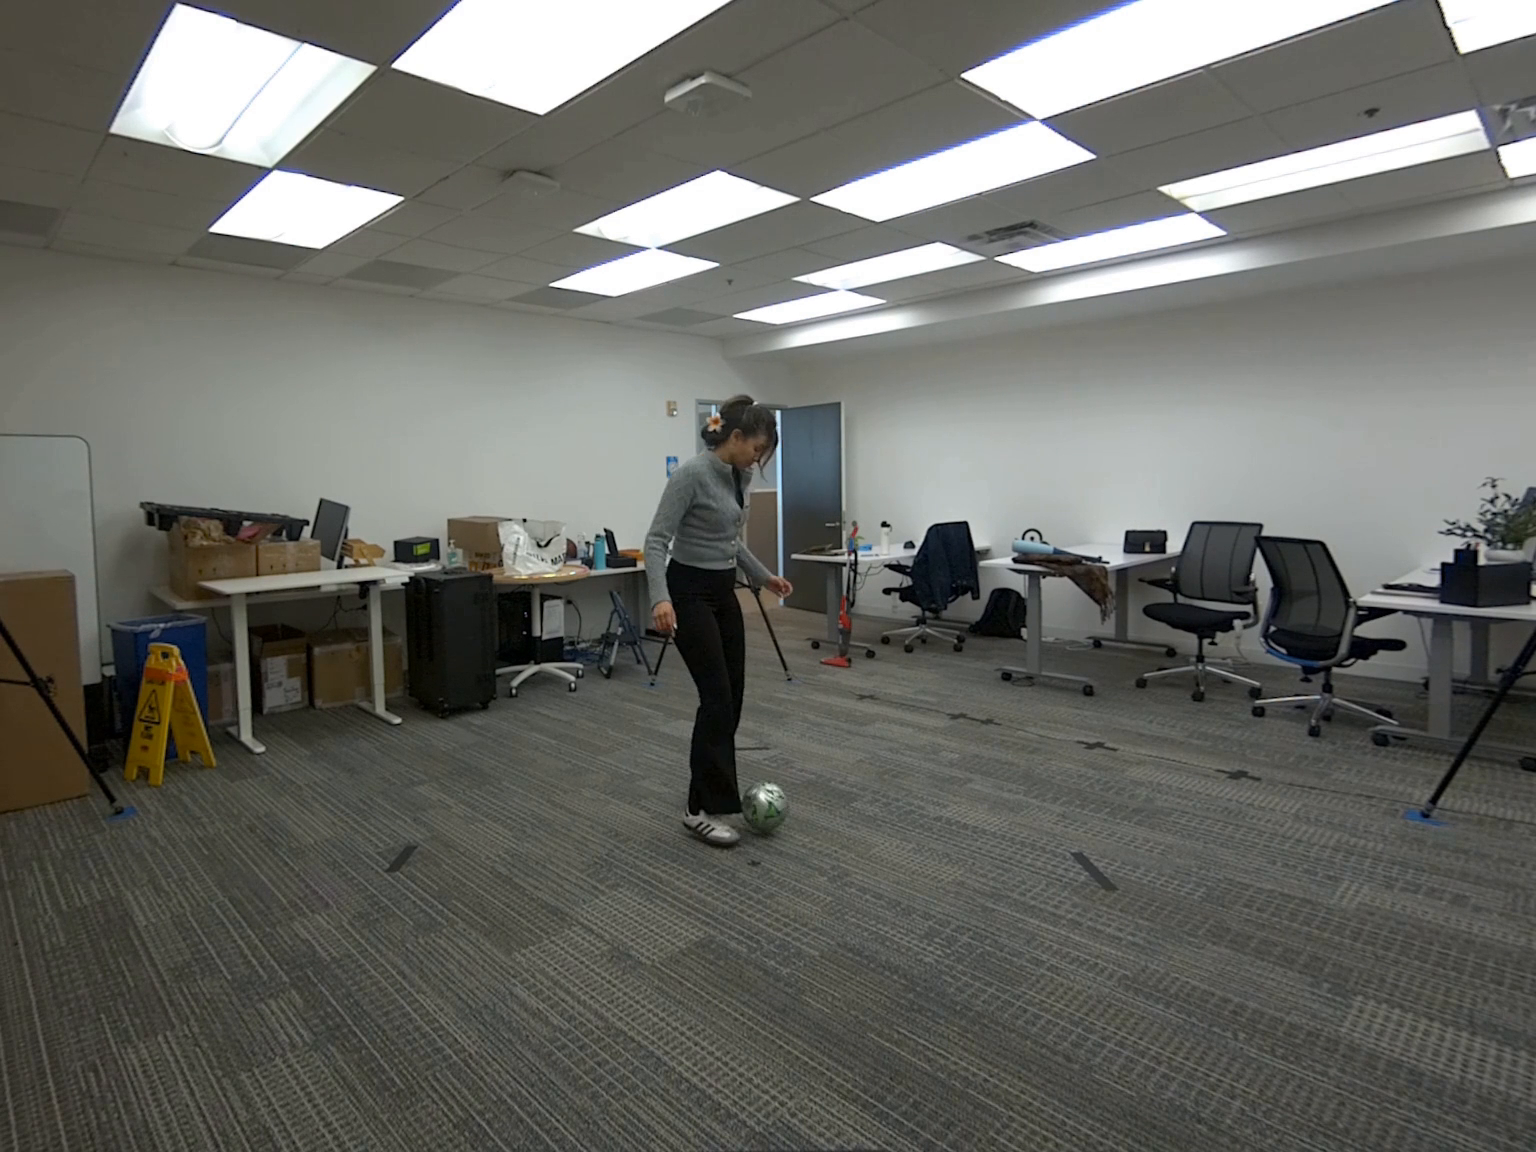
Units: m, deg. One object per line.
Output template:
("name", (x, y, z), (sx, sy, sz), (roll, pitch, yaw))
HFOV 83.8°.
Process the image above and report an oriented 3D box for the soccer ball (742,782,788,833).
("soccer ball", (-0.015, 0.904, 3.359), (0.187, 0.187, 0.188), (-1, 5, -2))
